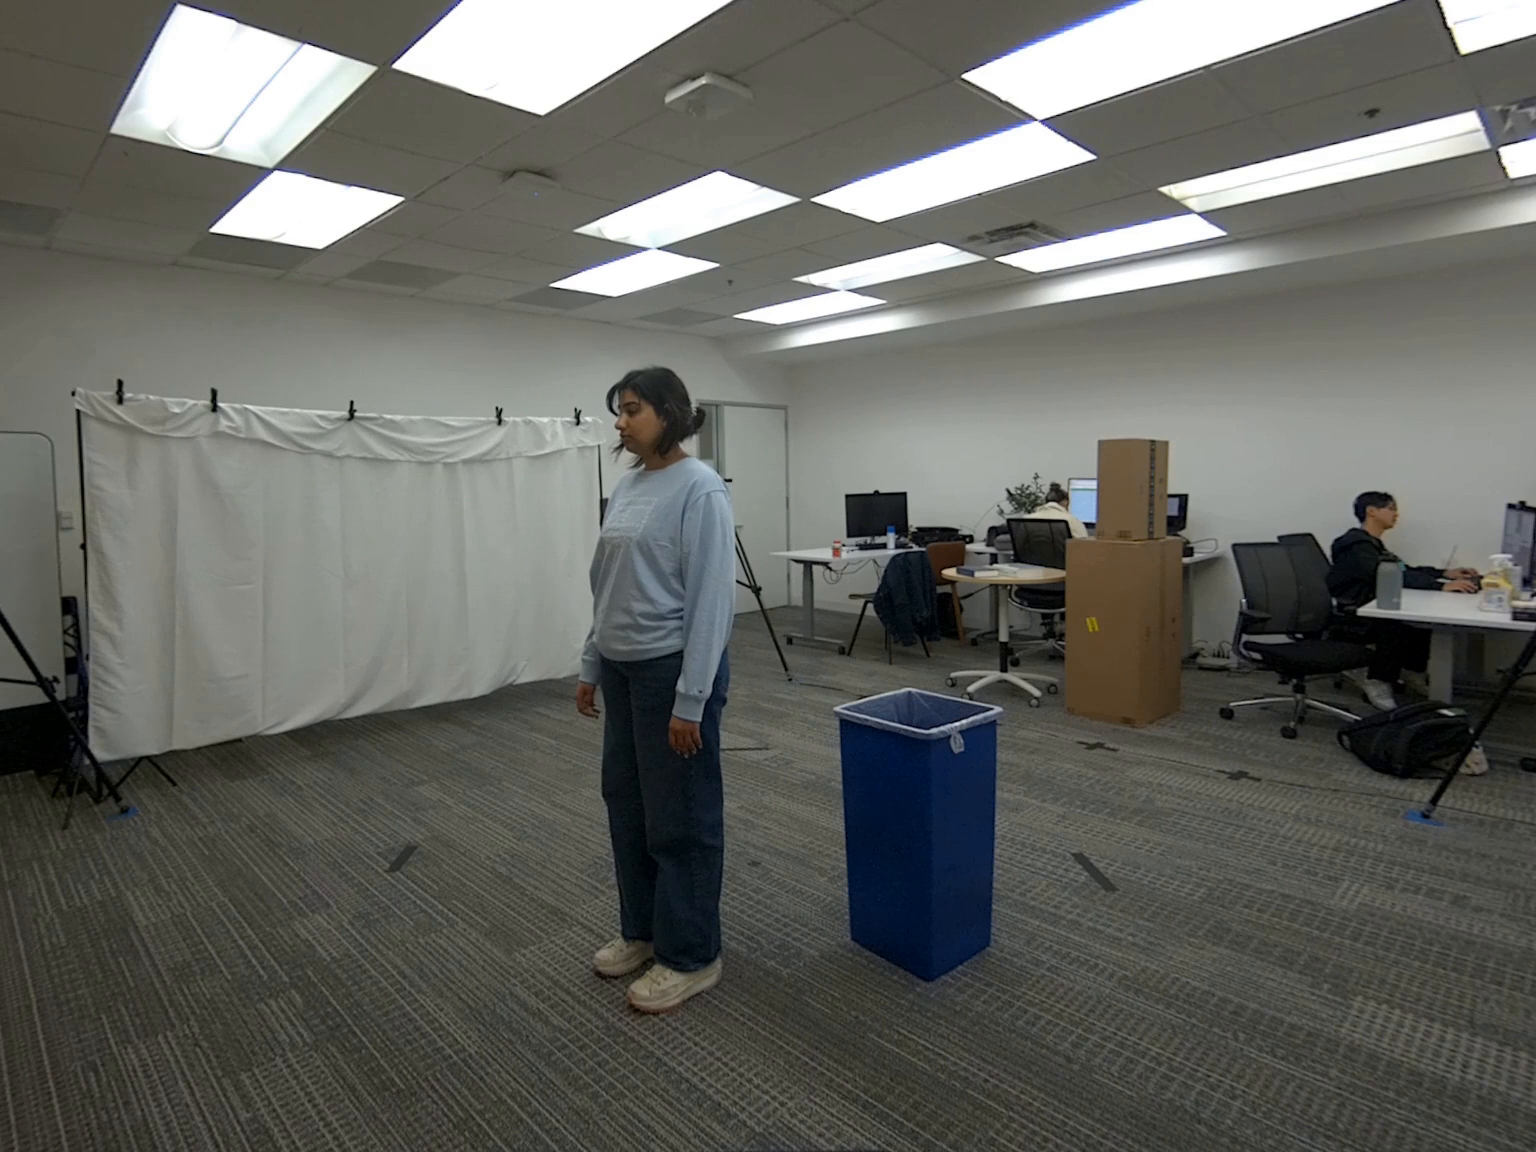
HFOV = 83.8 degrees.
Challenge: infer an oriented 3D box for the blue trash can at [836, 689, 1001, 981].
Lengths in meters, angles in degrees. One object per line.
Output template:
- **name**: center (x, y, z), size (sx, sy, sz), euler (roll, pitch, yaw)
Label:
- **blue trash can**: center (0.446, 0.743, 2.550), size (0.368, 0.711, 0.385), euler (-4, 5, -40)
